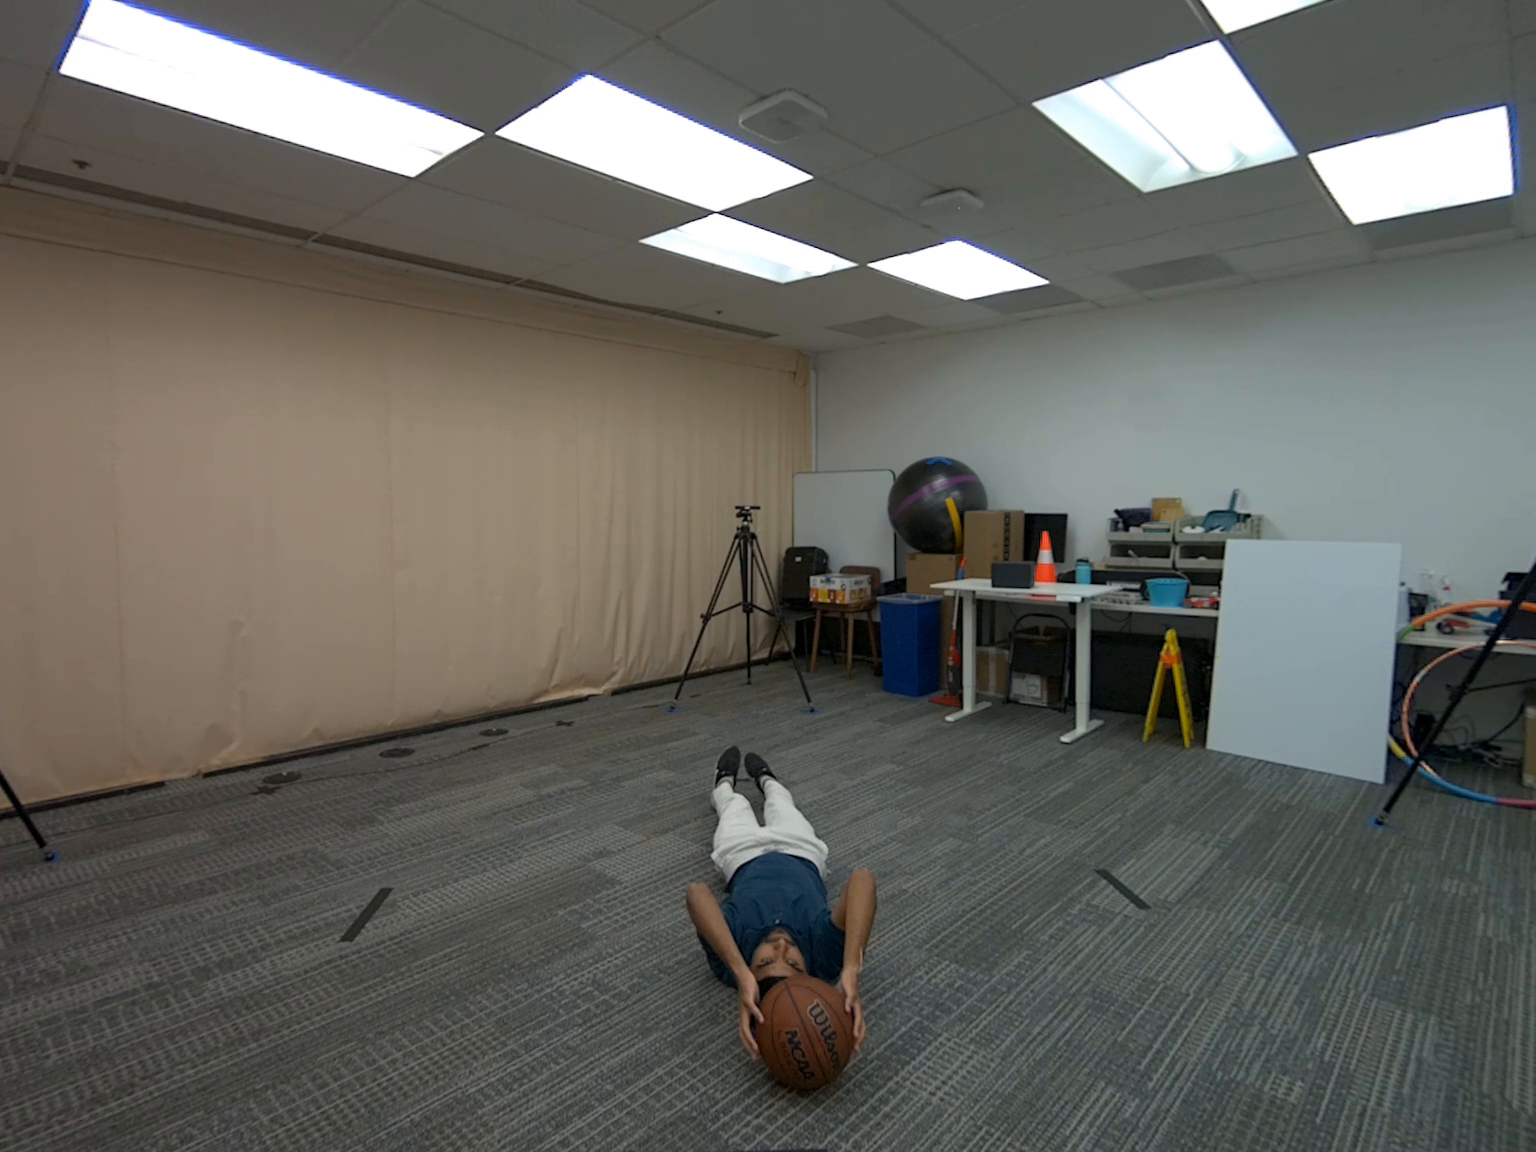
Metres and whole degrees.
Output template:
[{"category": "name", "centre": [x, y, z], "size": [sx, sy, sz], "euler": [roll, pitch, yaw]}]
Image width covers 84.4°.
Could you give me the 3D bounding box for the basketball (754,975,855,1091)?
[{"category": "basketball", "centre": [0.097, 1.103, 2.035], "size": [0.236, 0.235, 0.237], "euler": [0, 4, -2]}]
